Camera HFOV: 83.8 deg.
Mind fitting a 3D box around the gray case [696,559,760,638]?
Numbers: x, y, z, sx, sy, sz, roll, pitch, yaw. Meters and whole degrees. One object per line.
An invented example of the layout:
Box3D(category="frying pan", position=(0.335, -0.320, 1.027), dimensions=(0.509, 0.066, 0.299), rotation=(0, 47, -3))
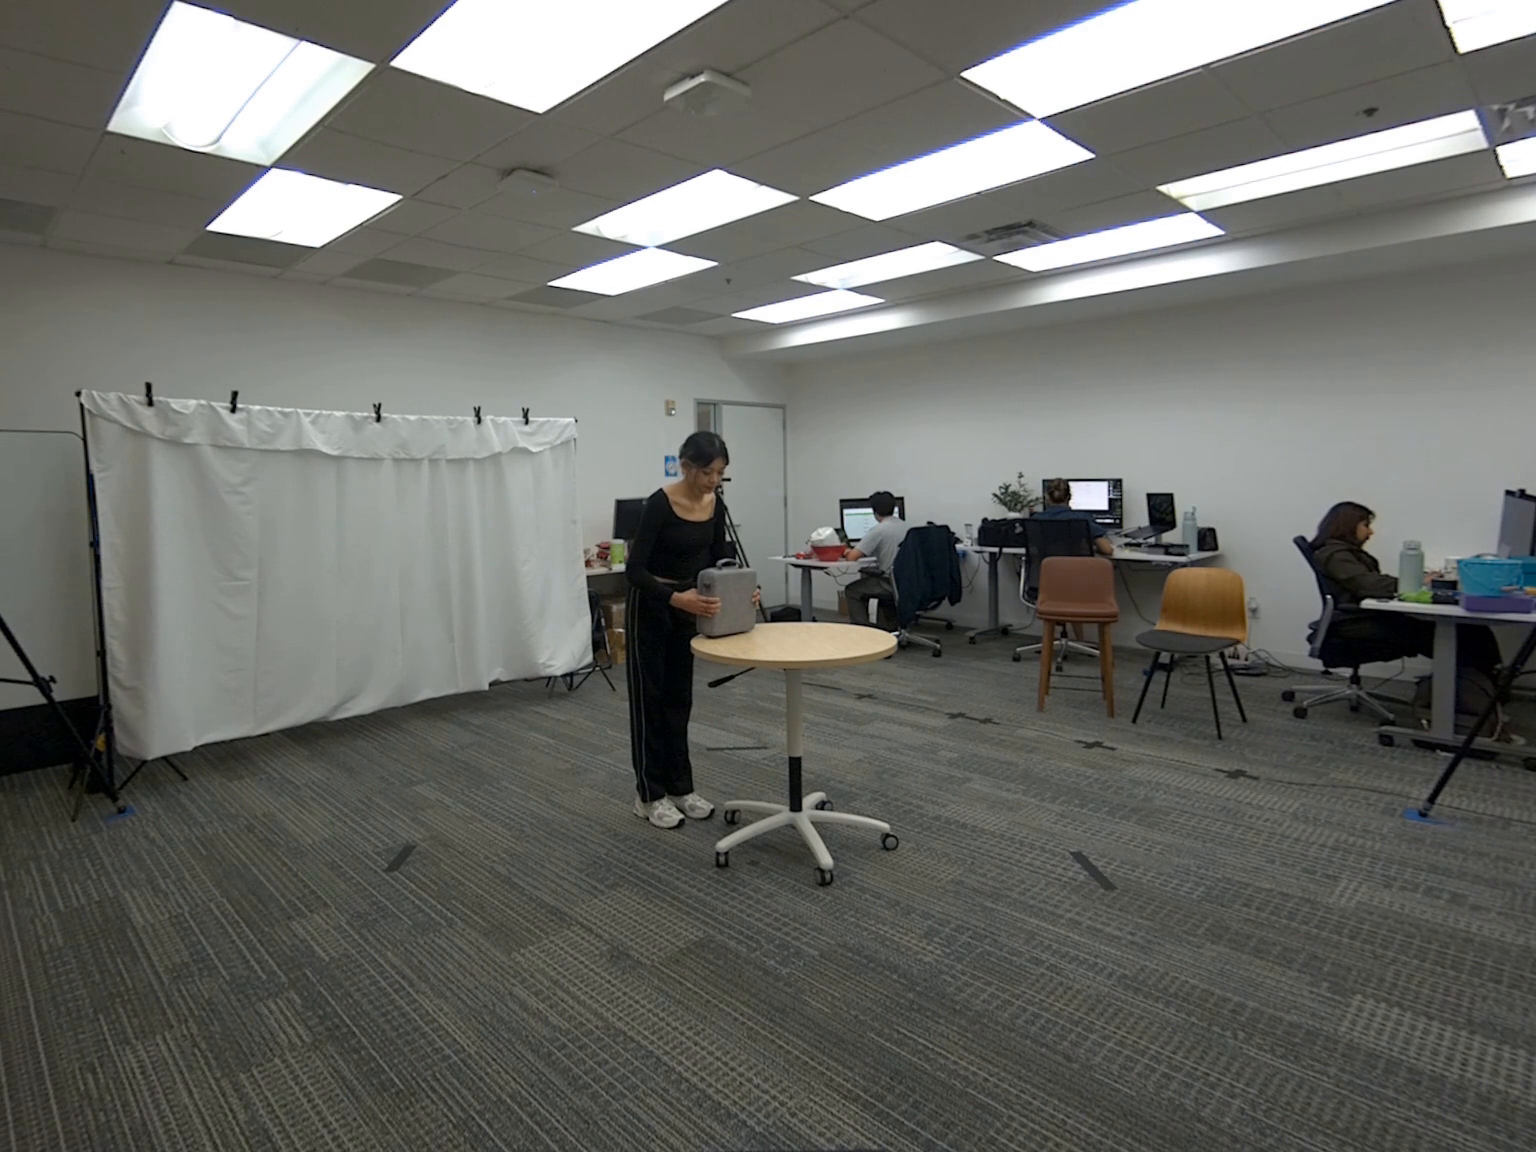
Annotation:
Box3D(category="gray case", position=(-0.154, 0.090, 3.318), dimensions=(0.108, 0.259, 0.250), rotation=(7, 8, 43))
